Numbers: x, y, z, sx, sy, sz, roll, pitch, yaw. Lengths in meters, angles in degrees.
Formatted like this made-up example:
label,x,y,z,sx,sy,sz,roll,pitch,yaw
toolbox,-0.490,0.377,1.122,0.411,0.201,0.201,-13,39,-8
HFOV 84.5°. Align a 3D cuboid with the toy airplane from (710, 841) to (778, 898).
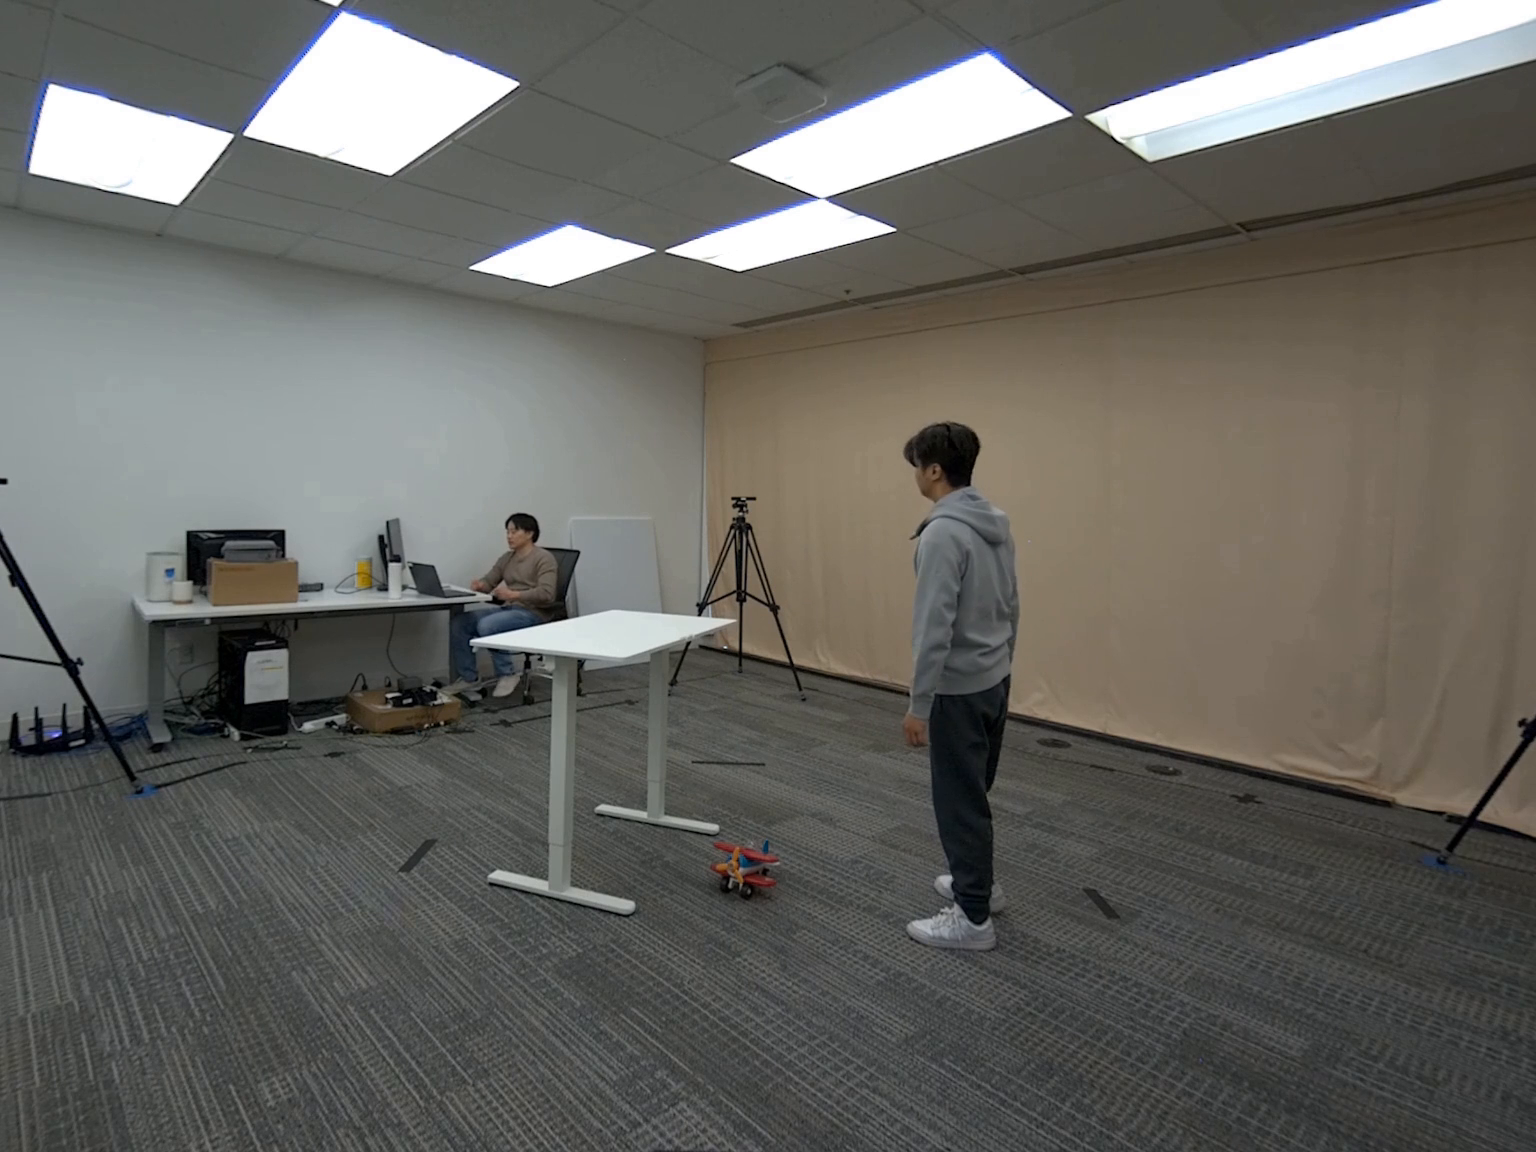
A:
label,x,y,z,sx,sy,sz,roll,pitch,yaw
toy airplane,-0.088,1.037,3.032,0.252,0.156,0.260,1,6,2
